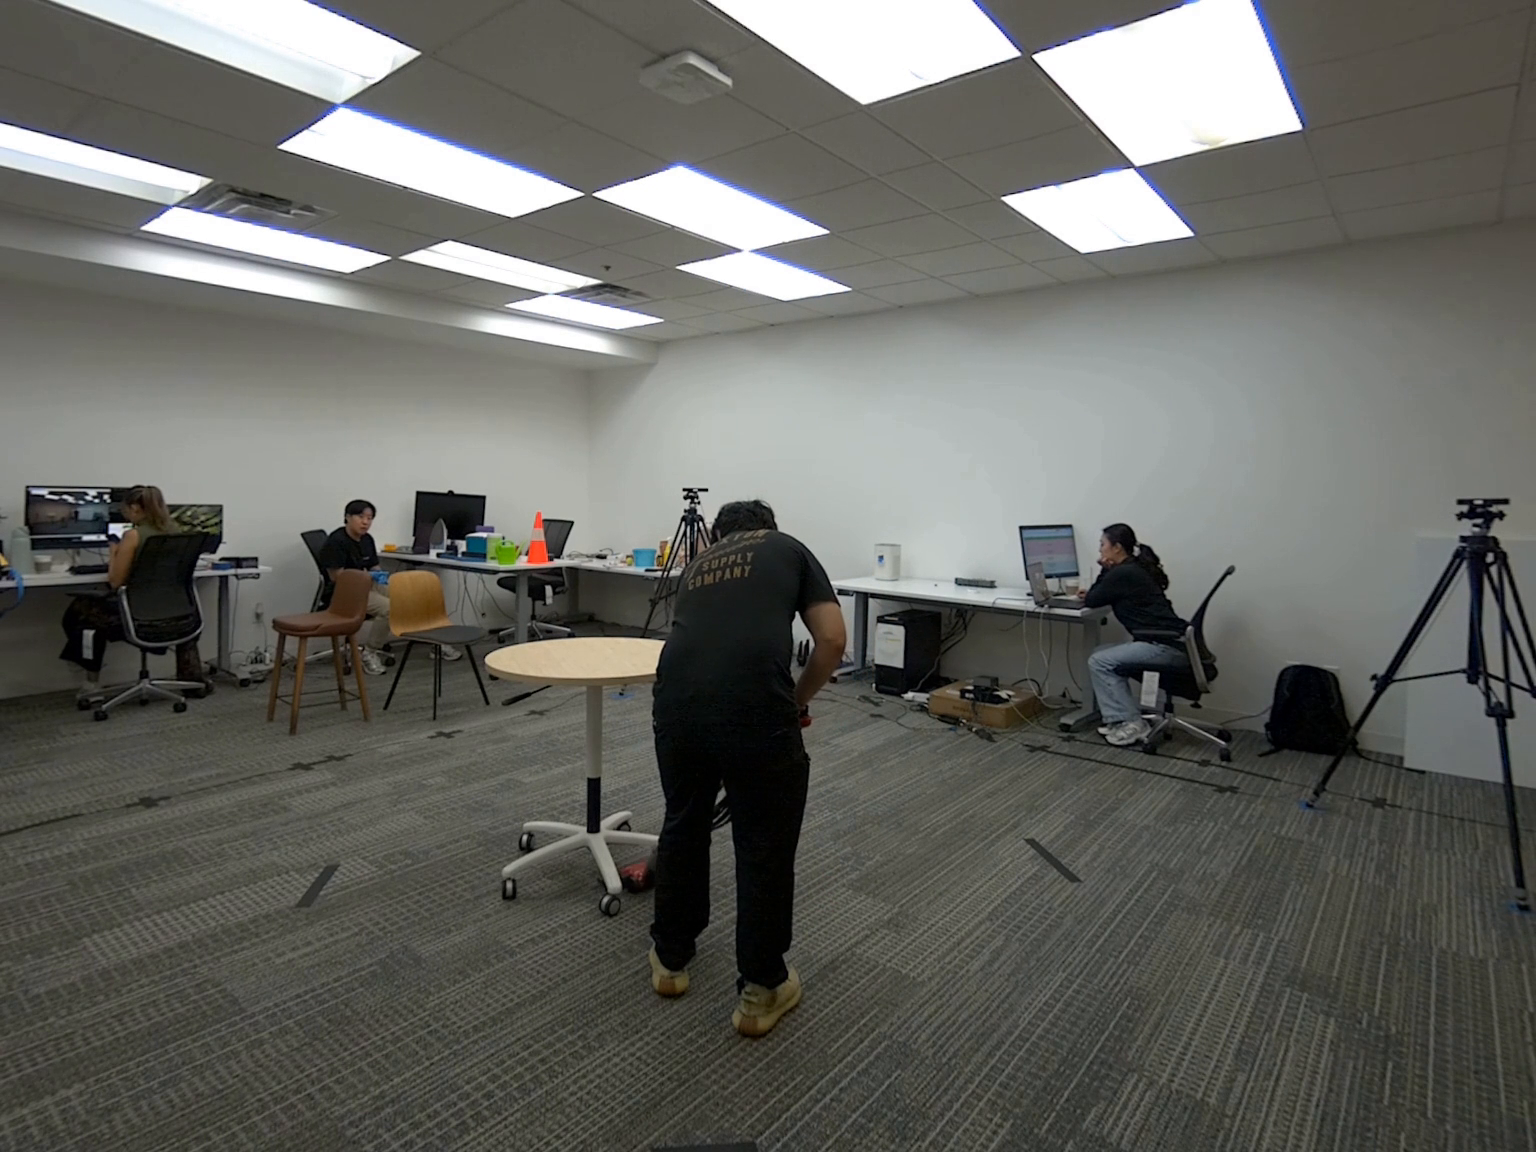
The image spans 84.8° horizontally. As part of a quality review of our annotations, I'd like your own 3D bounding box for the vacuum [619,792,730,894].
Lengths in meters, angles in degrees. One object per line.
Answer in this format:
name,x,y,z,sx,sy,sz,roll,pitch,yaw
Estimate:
vacuum,-0.196,0.718,2.687,0.244,0.149,1.047,9,-44,-37
